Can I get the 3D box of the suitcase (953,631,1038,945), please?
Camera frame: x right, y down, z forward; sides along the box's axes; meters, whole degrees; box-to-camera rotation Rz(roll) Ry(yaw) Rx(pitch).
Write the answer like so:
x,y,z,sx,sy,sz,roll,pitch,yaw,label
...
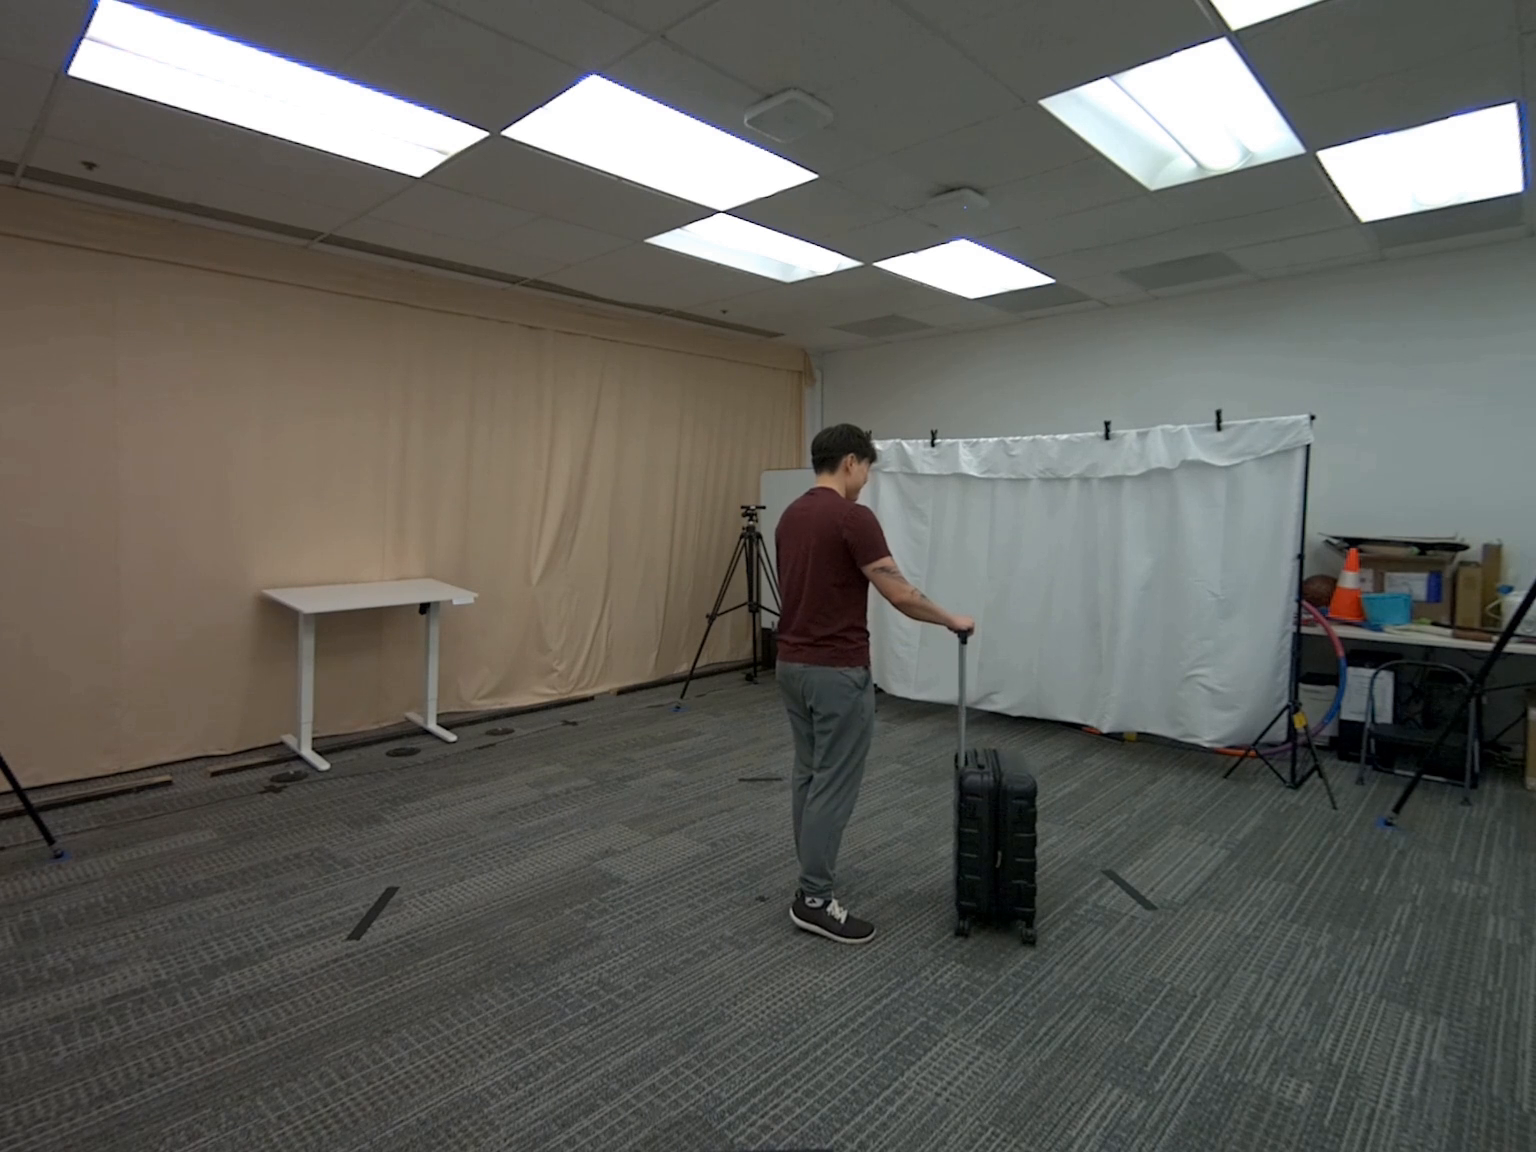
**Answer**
x,y,z,sx,sy,sz,roll,pitch,yaw,label
0.772,0.678,2.830,0.260,0.977,0.380,2,3,10,suitcase
